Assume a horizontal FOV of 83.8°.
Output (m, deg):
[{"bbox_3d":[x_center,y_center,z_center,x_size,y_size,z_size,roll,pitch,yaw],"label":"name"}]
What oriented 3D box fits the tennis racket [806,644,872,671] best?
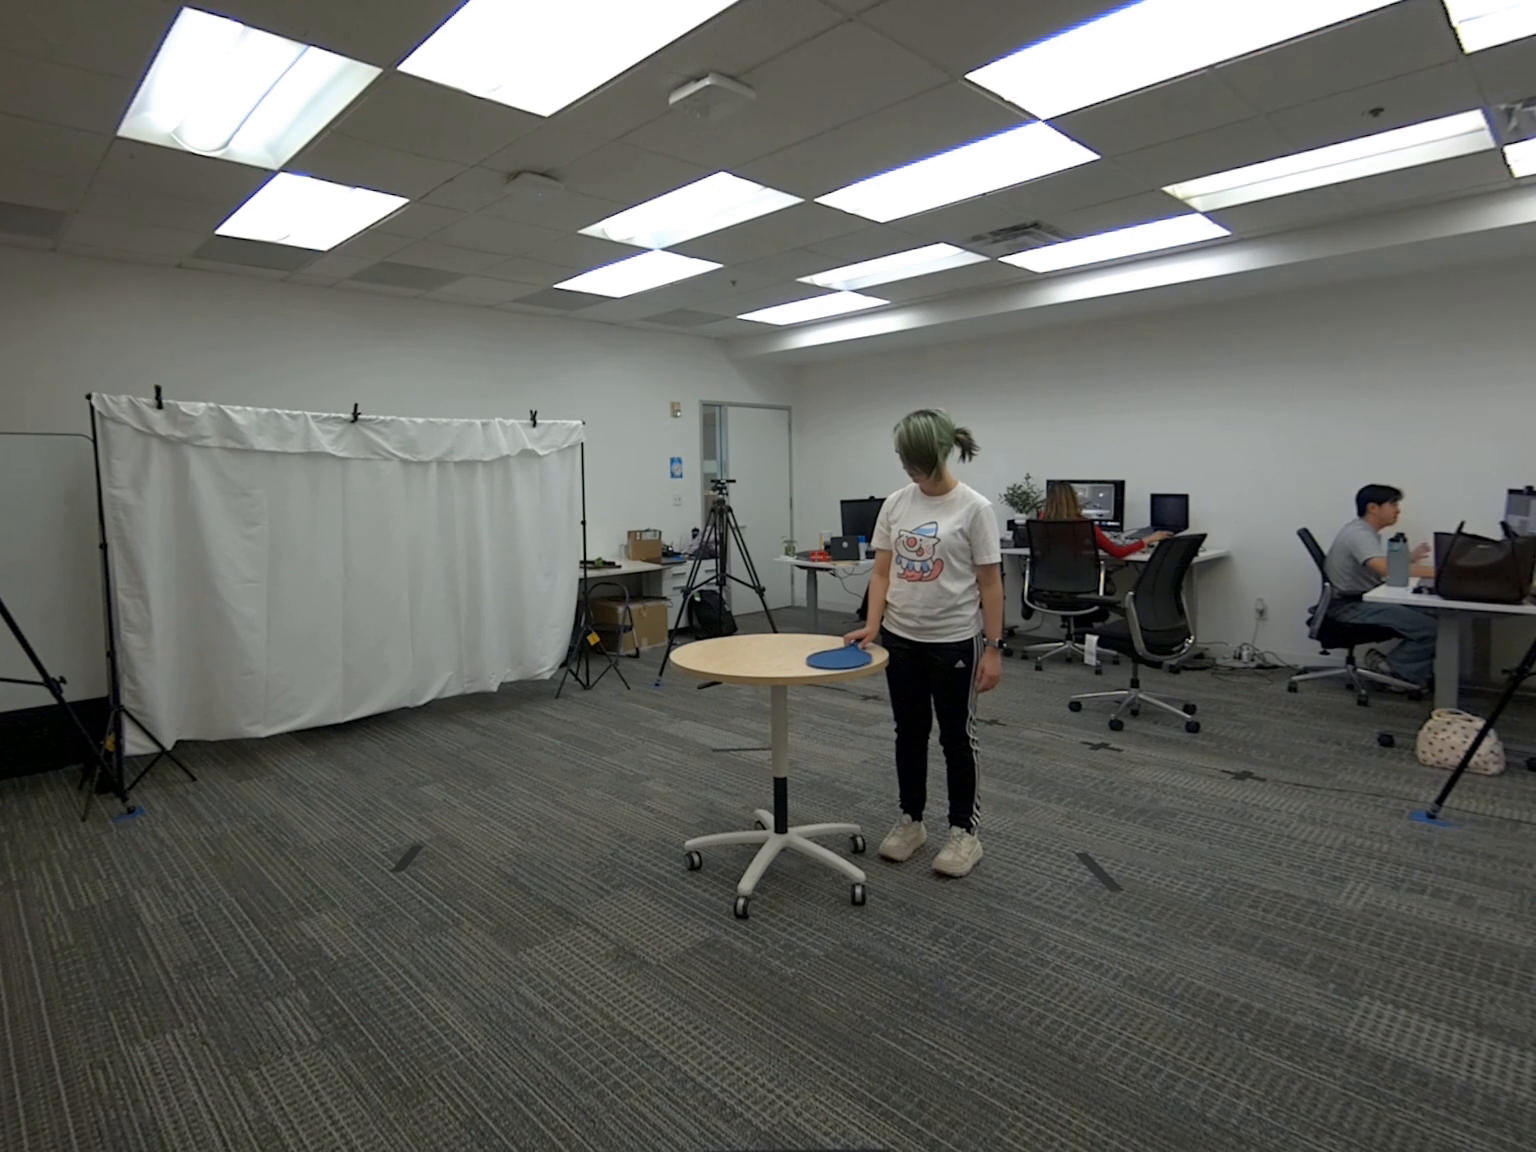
[{"bbox_3d":[0.279,0.268,2.895,0.219,0.031,0.424,-1,7,28],"label":"tennis racket"}]
